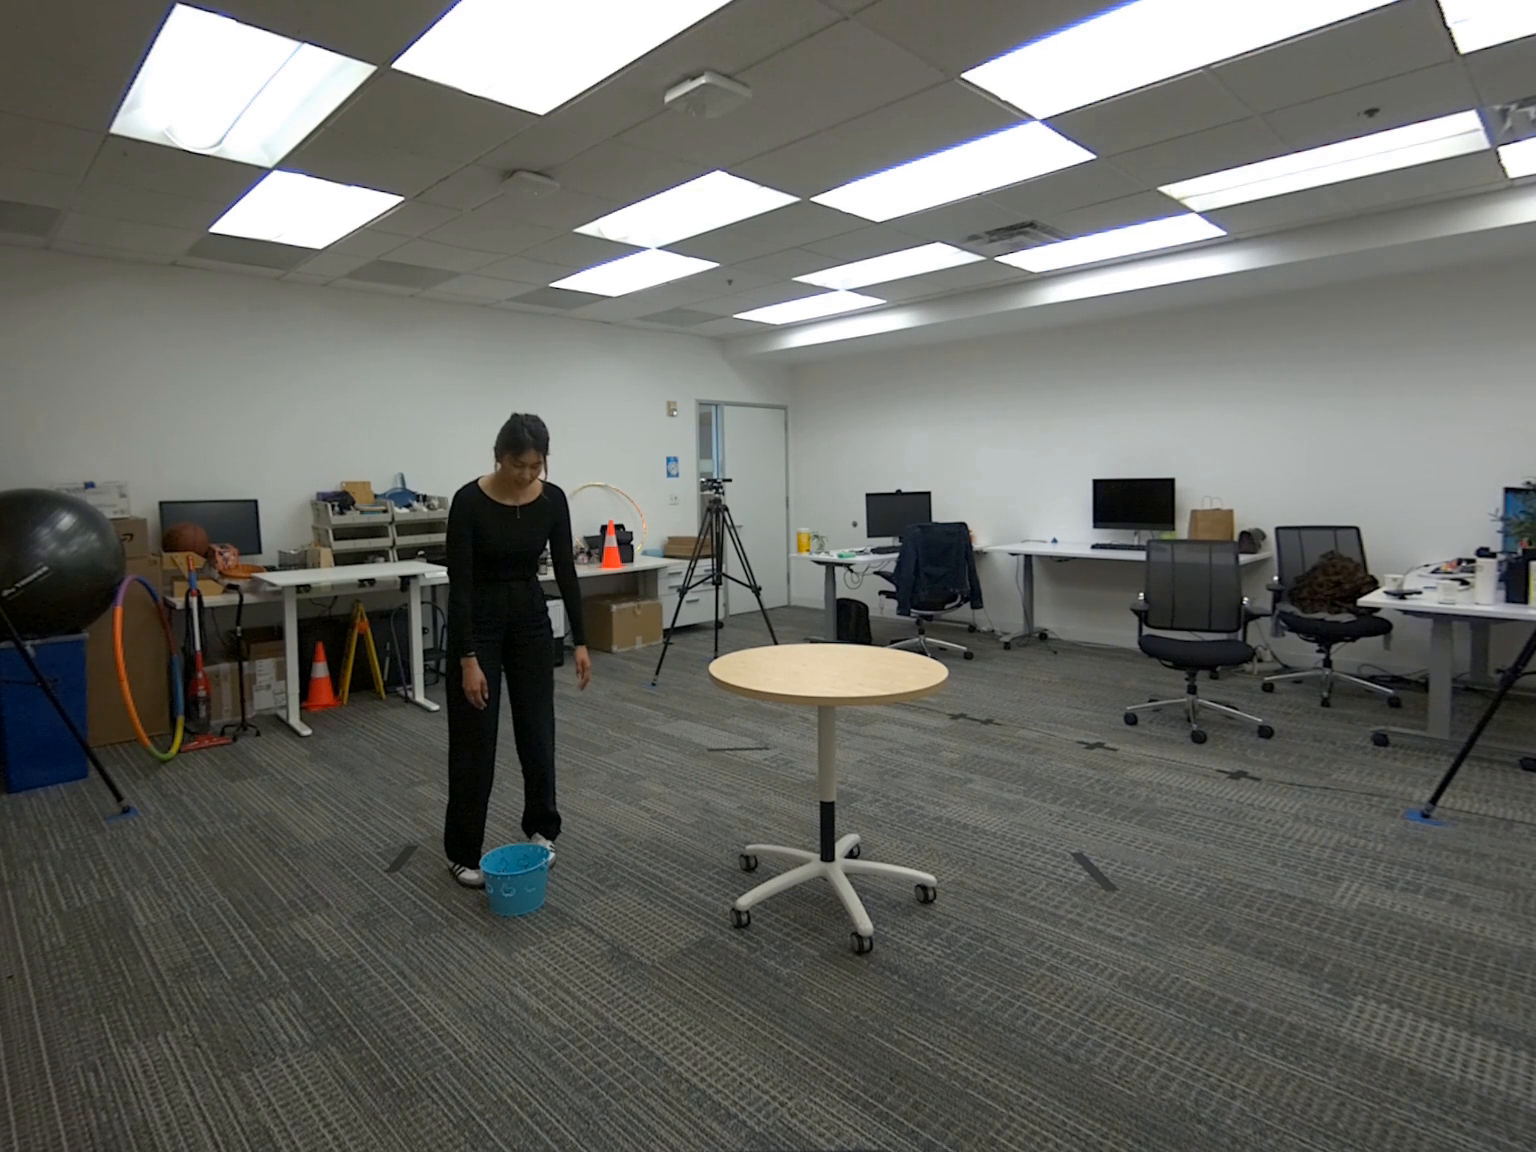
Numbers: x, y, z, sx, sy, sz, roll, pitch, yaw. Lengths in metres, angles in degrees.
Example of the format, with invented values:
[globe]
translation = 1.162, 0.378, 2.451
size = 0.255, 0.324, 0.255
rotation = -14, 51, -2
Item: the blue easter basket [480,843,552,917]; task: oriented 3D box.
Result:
[blue easter basket]
translation = -0.838, 1.022, 2.848
size = 0.243, 0.155, 0.245
rotation = -2, 6, -1
